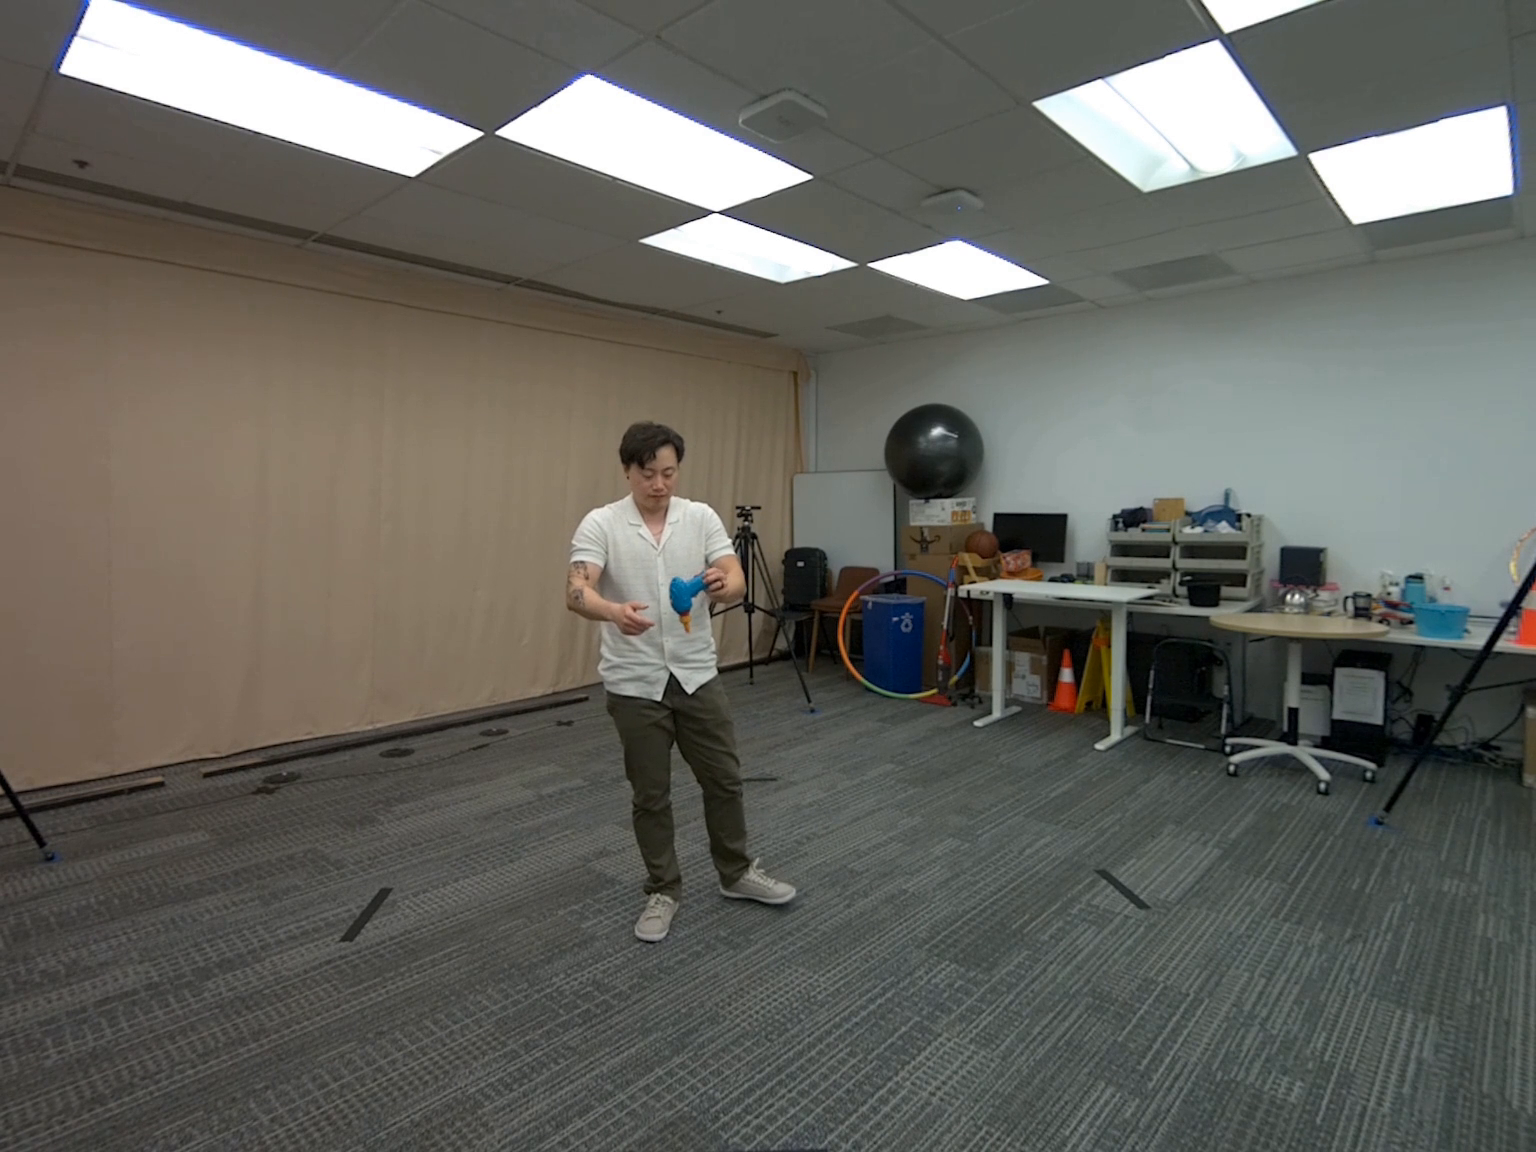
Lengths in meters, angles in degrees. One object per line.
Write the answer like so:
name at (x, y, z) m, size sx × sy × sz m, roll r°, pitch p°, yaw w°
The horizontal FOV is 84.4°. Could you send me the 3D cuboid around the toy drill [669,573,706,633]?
toy drill at (-0.220, 0.073, 2.432) m, size 0.143 × 0.168 × 0.063 m, roll -19°, pitch 13°, yaw -31°
